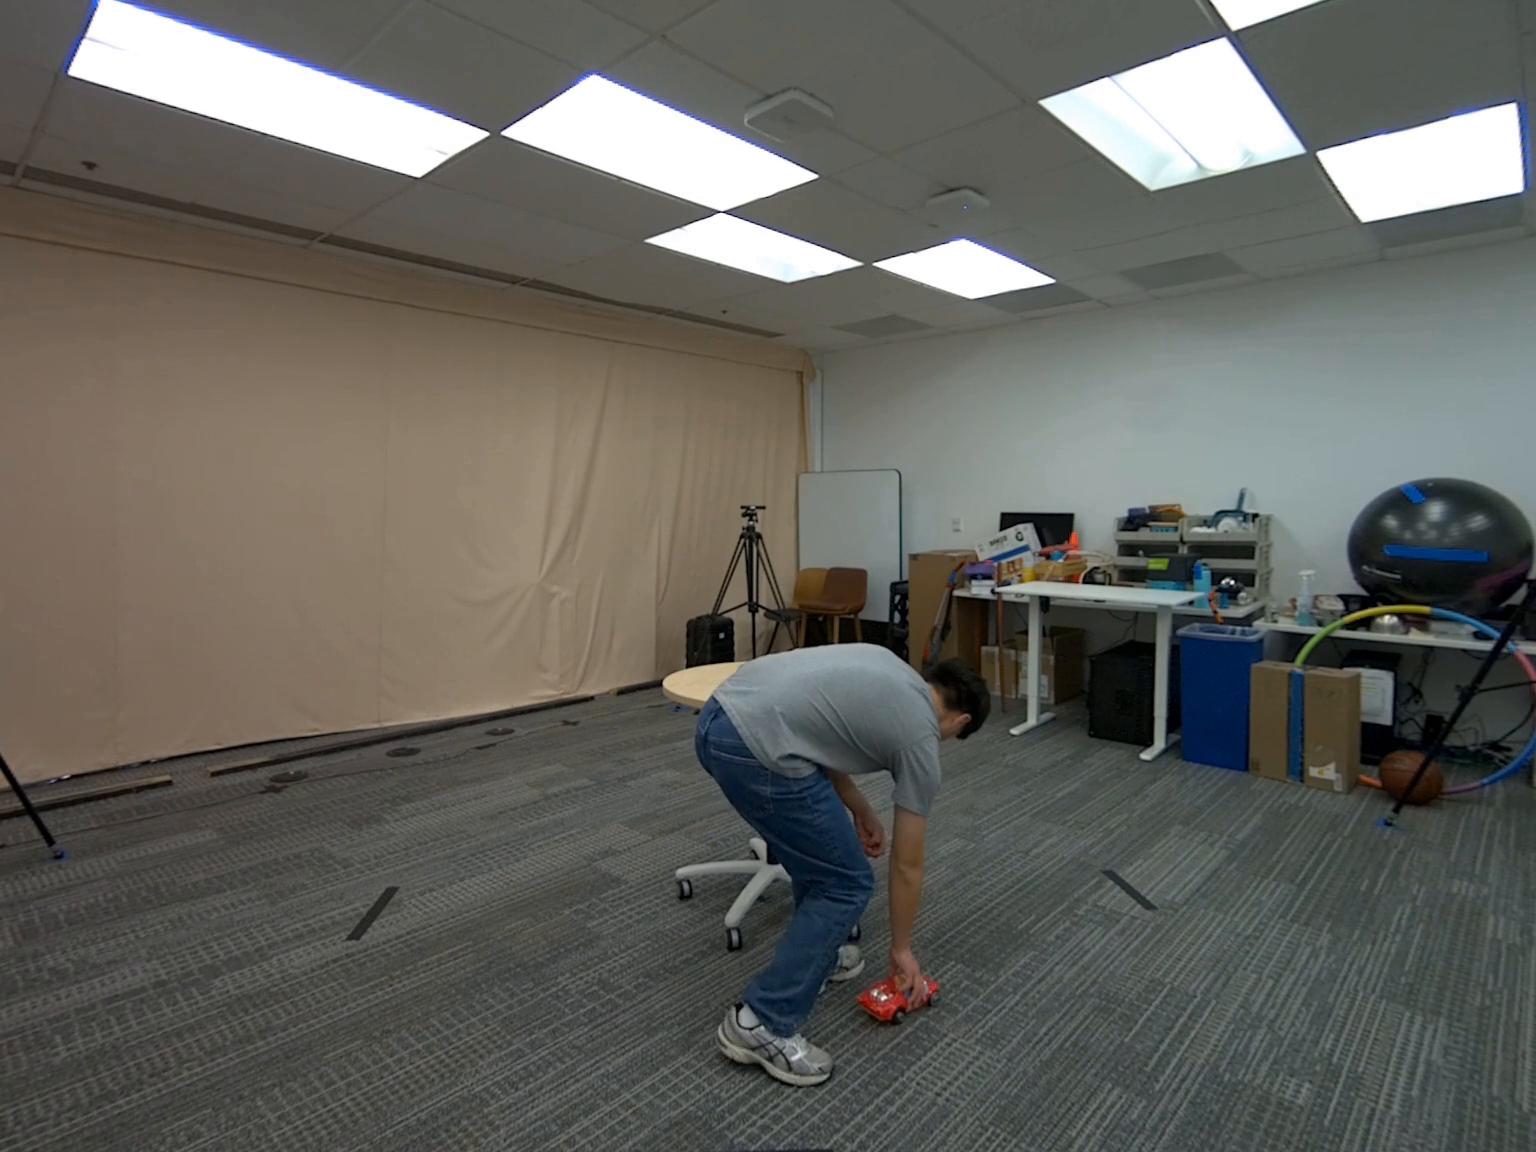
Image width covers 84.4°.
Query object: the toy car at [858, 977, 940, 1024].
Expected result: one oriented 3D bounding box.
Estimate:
[{"bbox_3d":[0.366,1.171,2.324,0.246,0.083,0.134,10,-1,-36],"label":"toy car"}]
